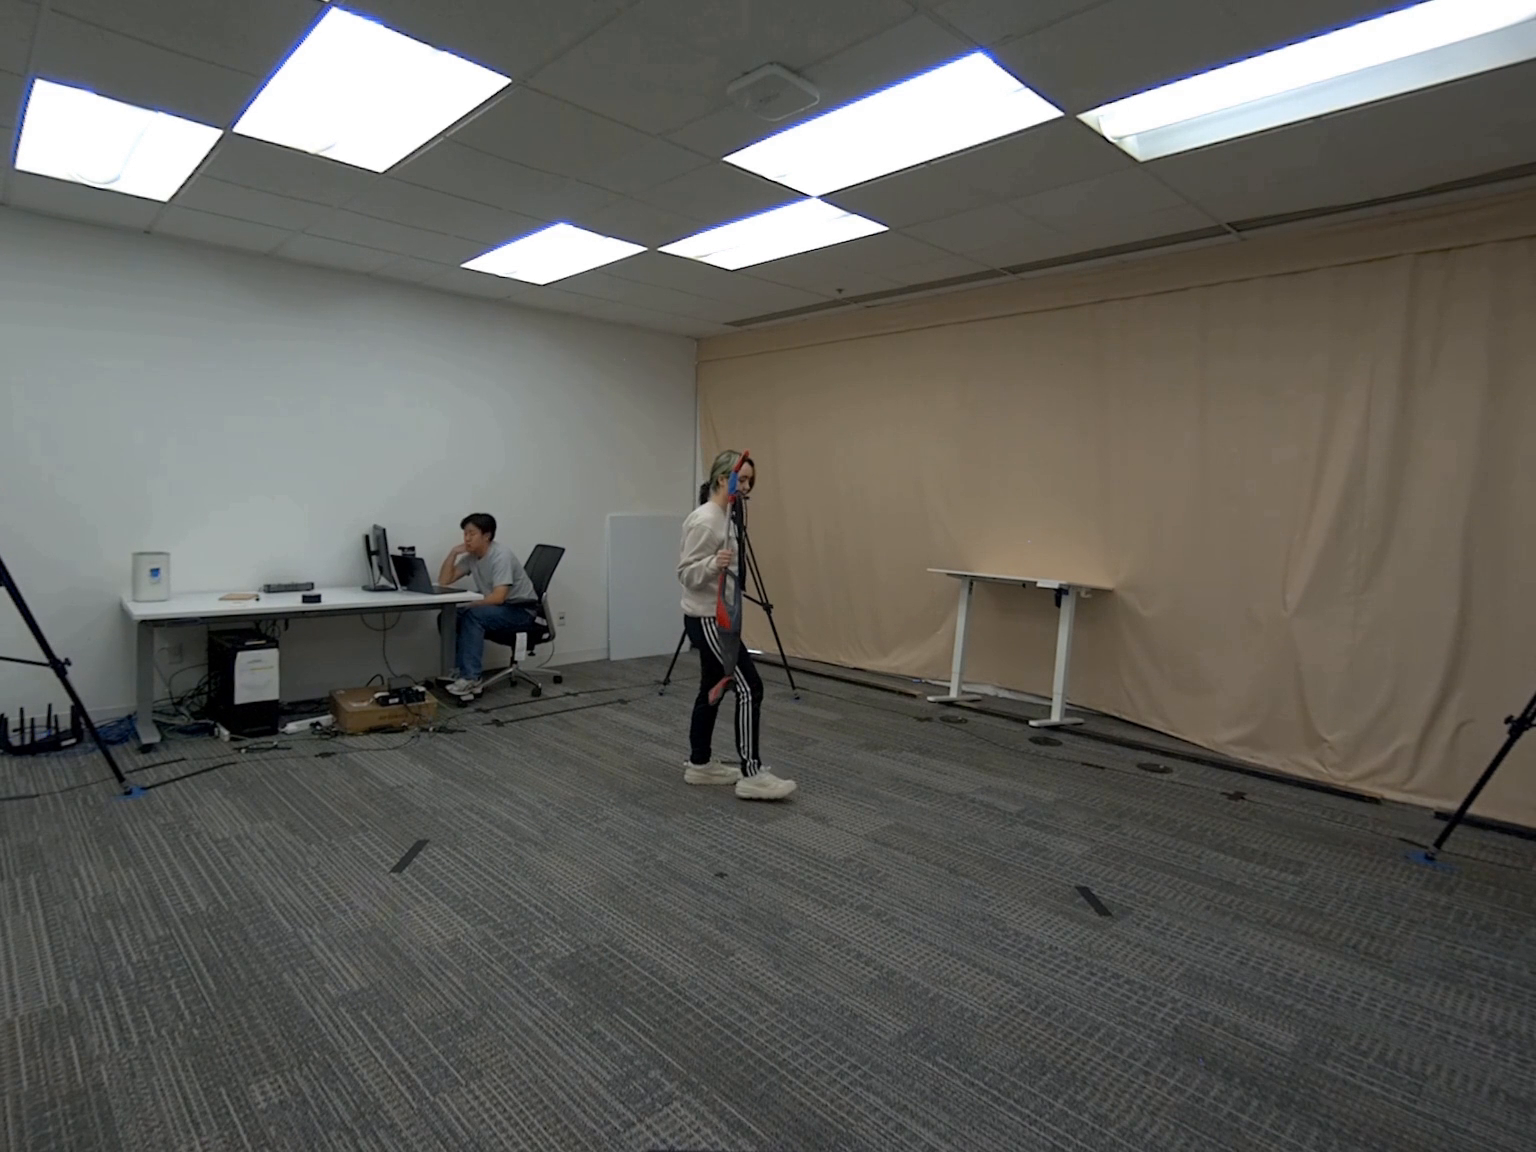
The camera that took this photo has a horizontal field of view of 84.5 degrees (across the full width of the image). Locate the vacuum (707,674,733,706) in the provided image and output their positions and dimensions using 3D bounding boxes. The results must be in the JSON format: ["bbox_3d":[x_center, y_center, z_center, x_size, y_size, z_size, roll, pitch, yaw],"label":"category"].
[{"bbox_3d":[-0.158,-0.012,3.712,0.140,1.052,0.258,7,-5,-40],"label":"vacuum"}]
